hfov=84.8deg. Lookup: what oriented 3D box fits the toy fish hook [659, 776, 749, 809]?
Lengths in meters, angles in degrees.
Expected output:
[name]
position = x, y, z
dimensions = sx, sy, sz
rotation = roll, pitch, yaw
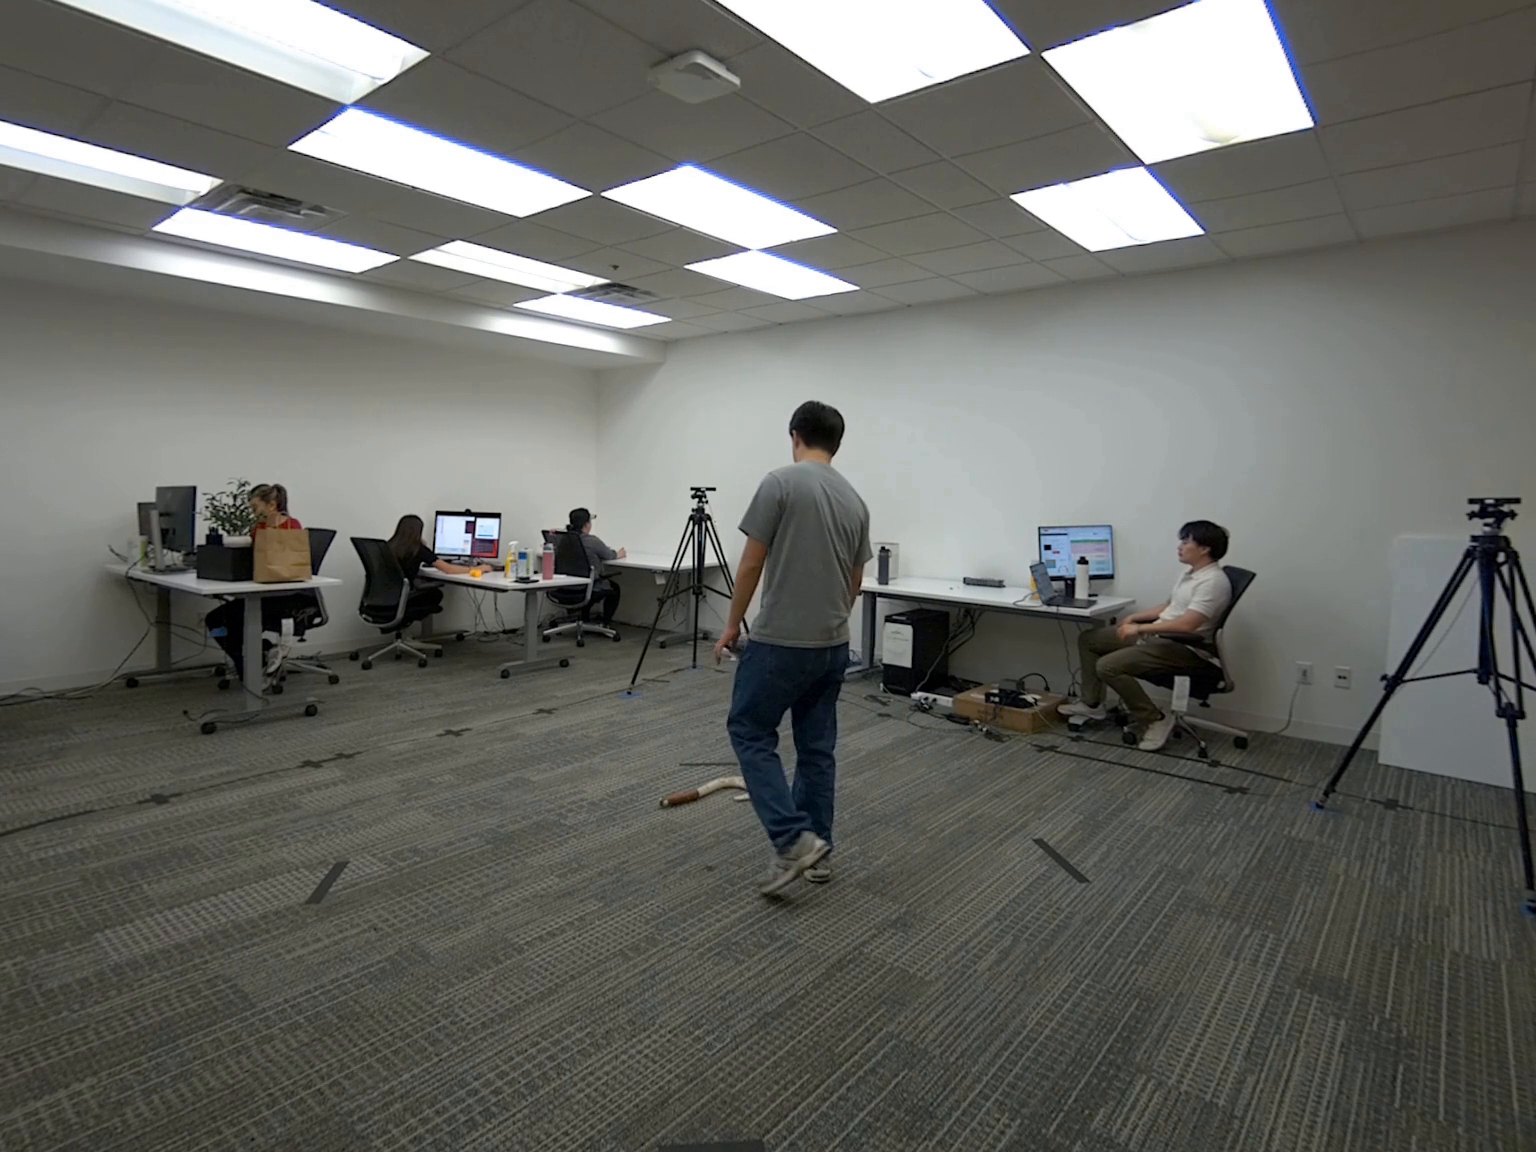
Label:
[toy fish hook]
position = -0.262, 0.972, 3.805
dimensions = 0.491, 0.048, 0.232
rotation = -5, 7, -41
